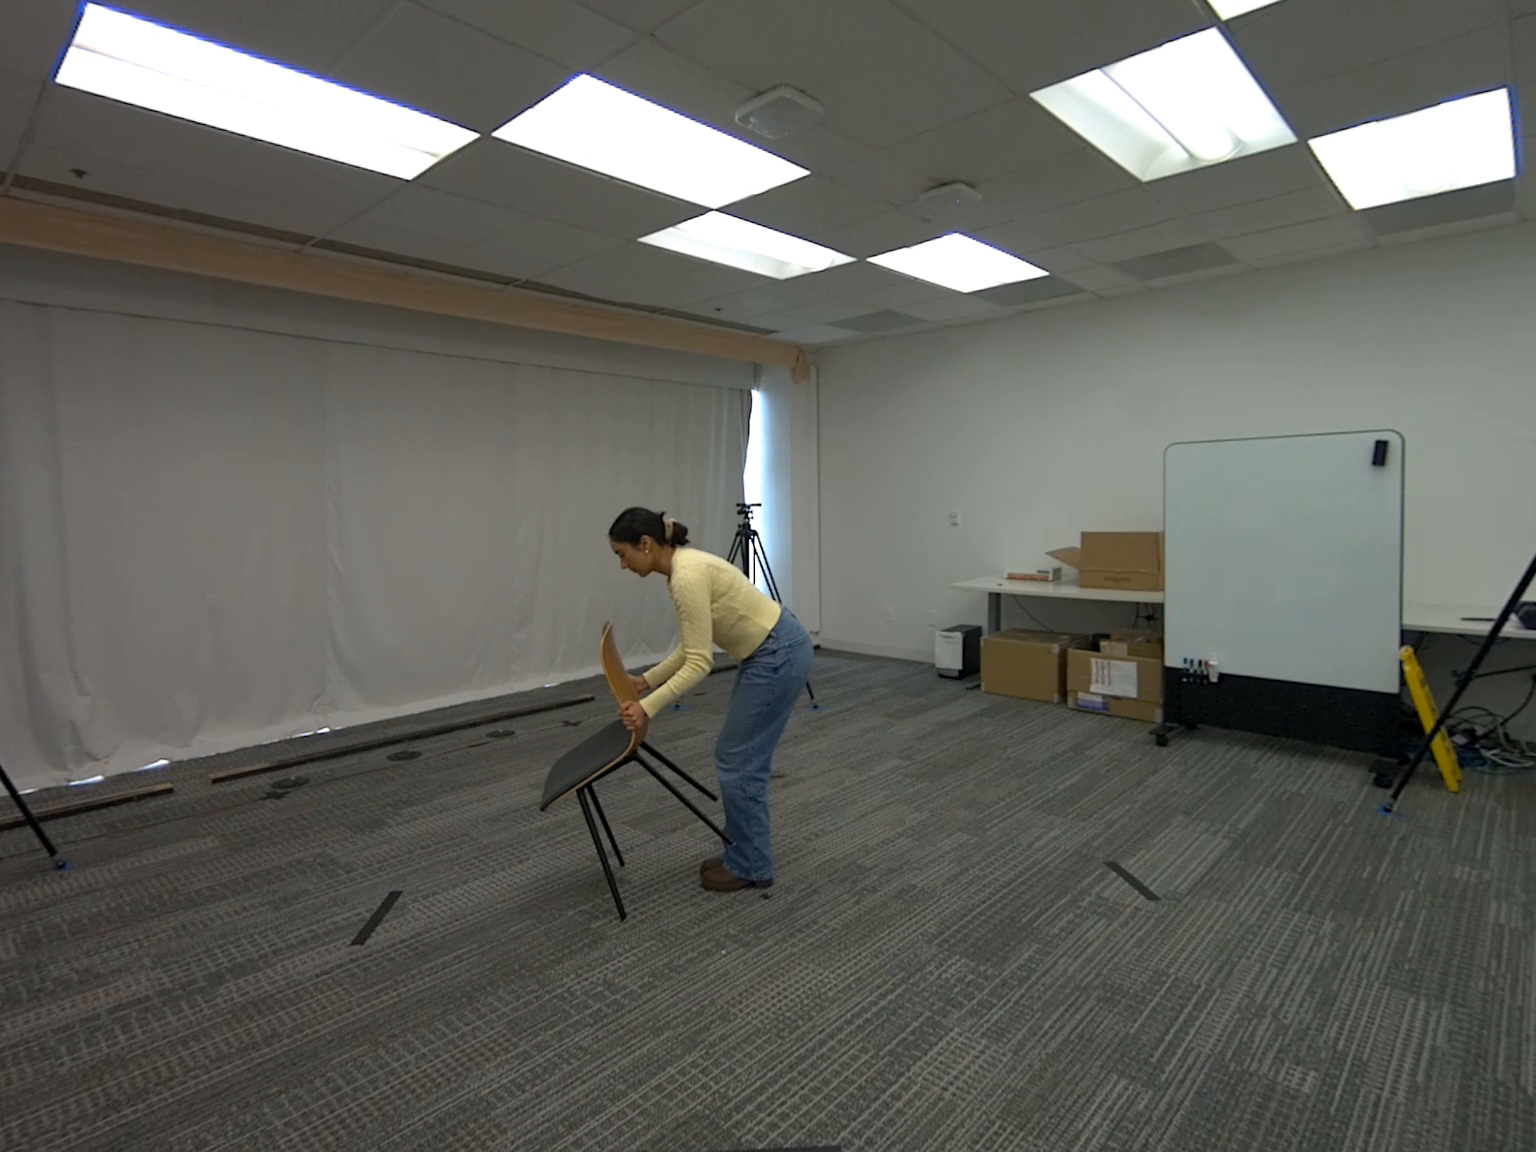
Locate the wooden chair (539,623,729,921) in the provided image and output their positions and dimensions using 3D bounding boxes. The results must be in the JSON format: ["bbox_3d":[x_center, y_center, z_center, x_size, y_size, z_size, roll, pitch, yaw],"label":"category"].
[{"bbox_3d":[-0.581,0.662,3.014,0.522,0.872,0.482,-30,6,-5],"label":"wooden chair"}]
